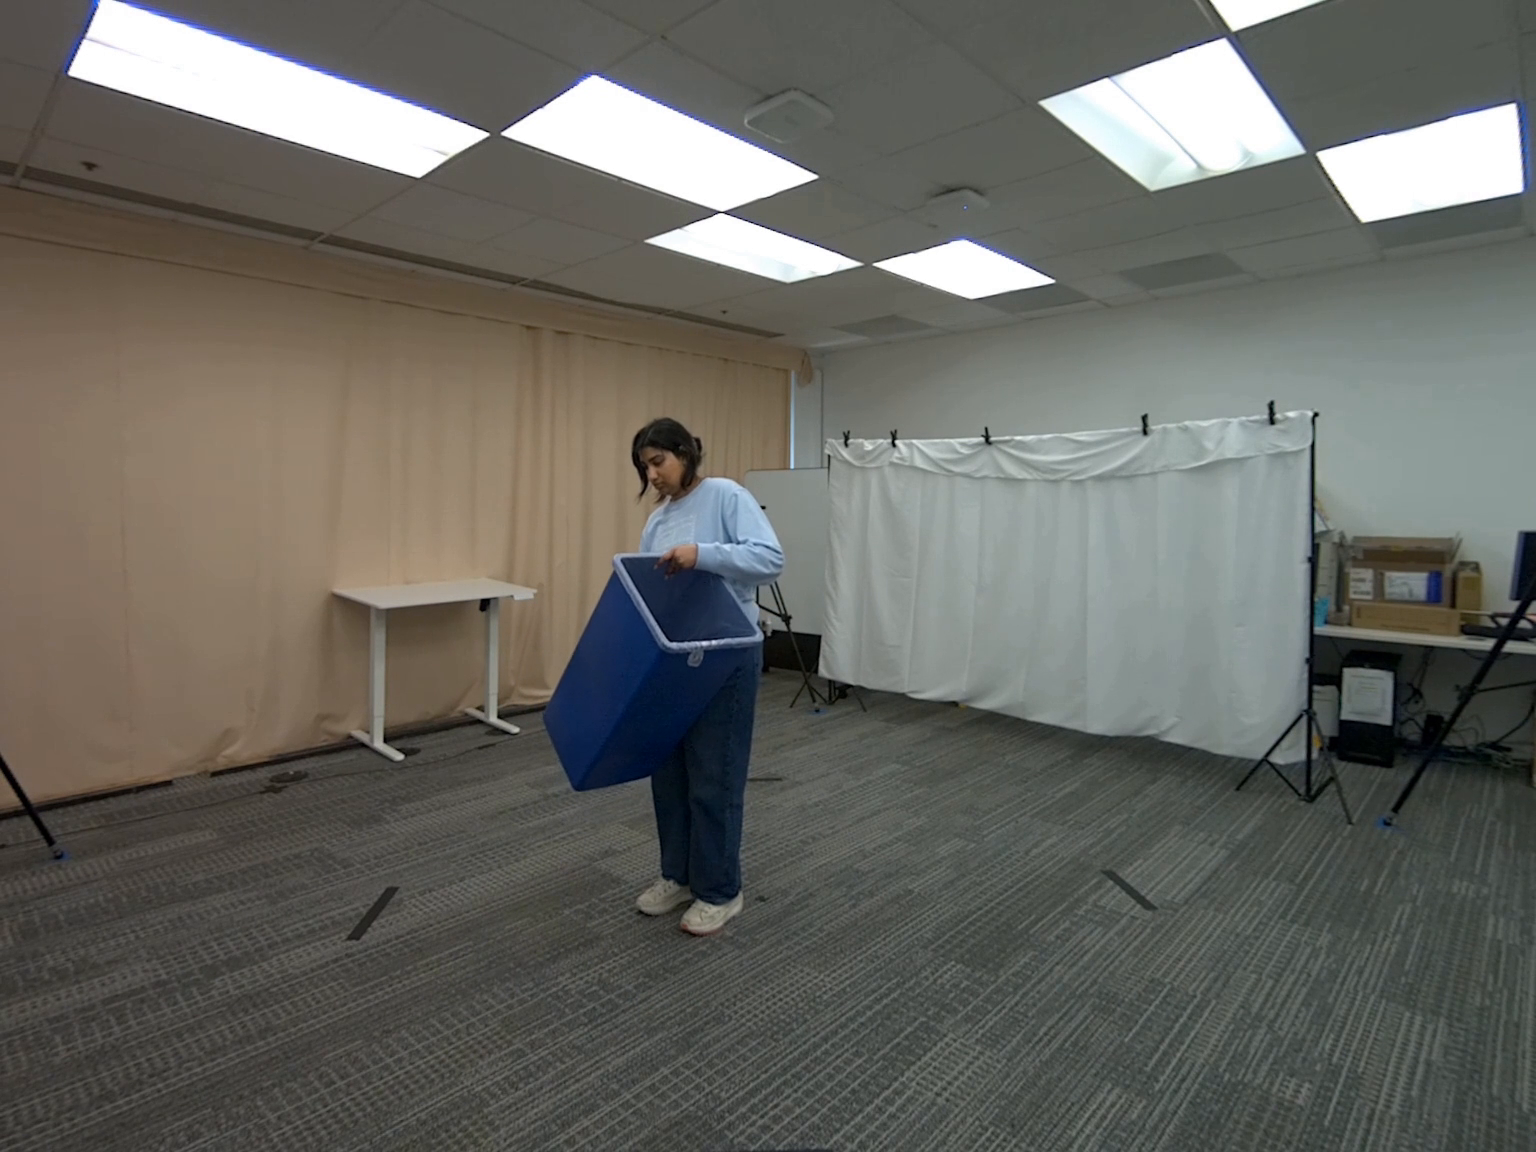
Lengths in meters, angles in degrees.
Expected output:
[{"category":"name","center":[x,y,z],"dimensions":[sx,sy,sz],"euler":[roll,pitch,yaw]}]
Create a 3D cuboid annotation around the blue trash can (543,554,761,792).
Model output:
[{"category":"blue trash can","center":[-0.397,0.312,2.604],"dimensions":[0.366,0.715,0.385],"euler":[1,44,-43]}]
